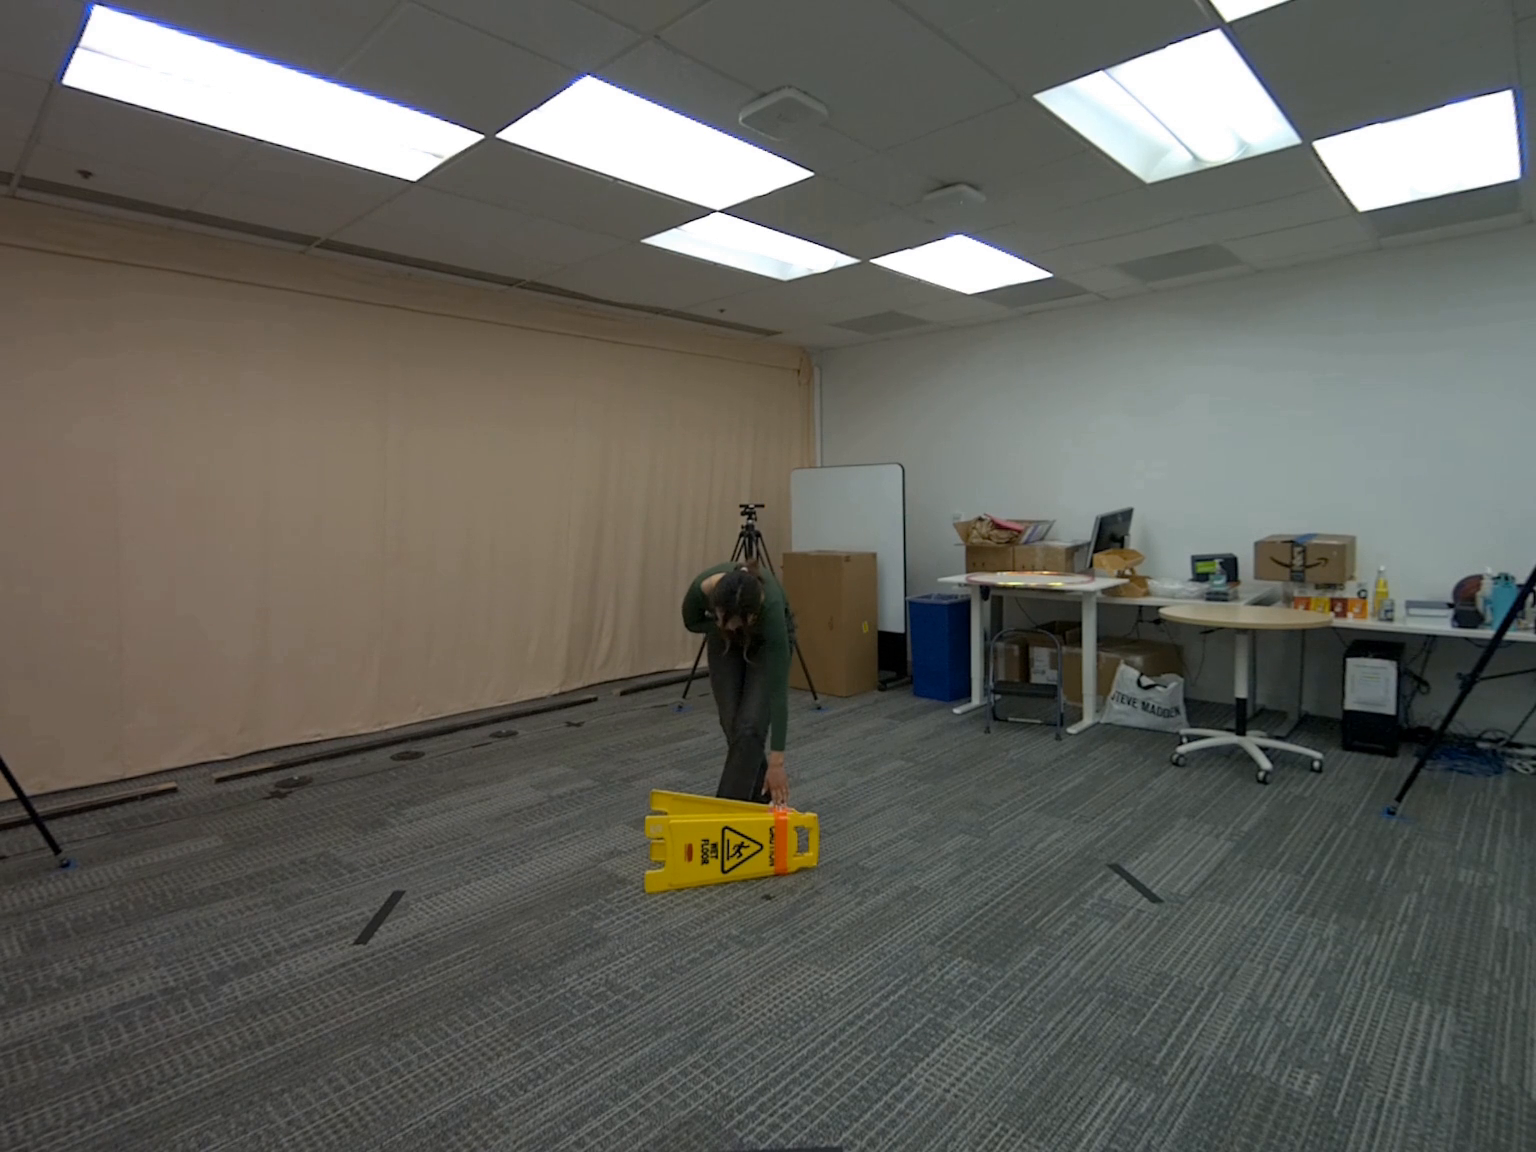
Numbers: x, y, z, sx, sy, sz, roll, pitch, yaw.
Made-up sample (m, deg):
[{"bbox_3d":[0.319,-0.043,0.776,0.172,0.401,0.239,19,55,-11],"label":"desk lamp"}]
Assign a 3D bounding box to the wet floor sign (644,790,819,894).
[{"bbox_3d":[-0.126,0.991,3.181,0.645,0.282,0.291,1,4,-2],"label":"wet floor sign"}]
